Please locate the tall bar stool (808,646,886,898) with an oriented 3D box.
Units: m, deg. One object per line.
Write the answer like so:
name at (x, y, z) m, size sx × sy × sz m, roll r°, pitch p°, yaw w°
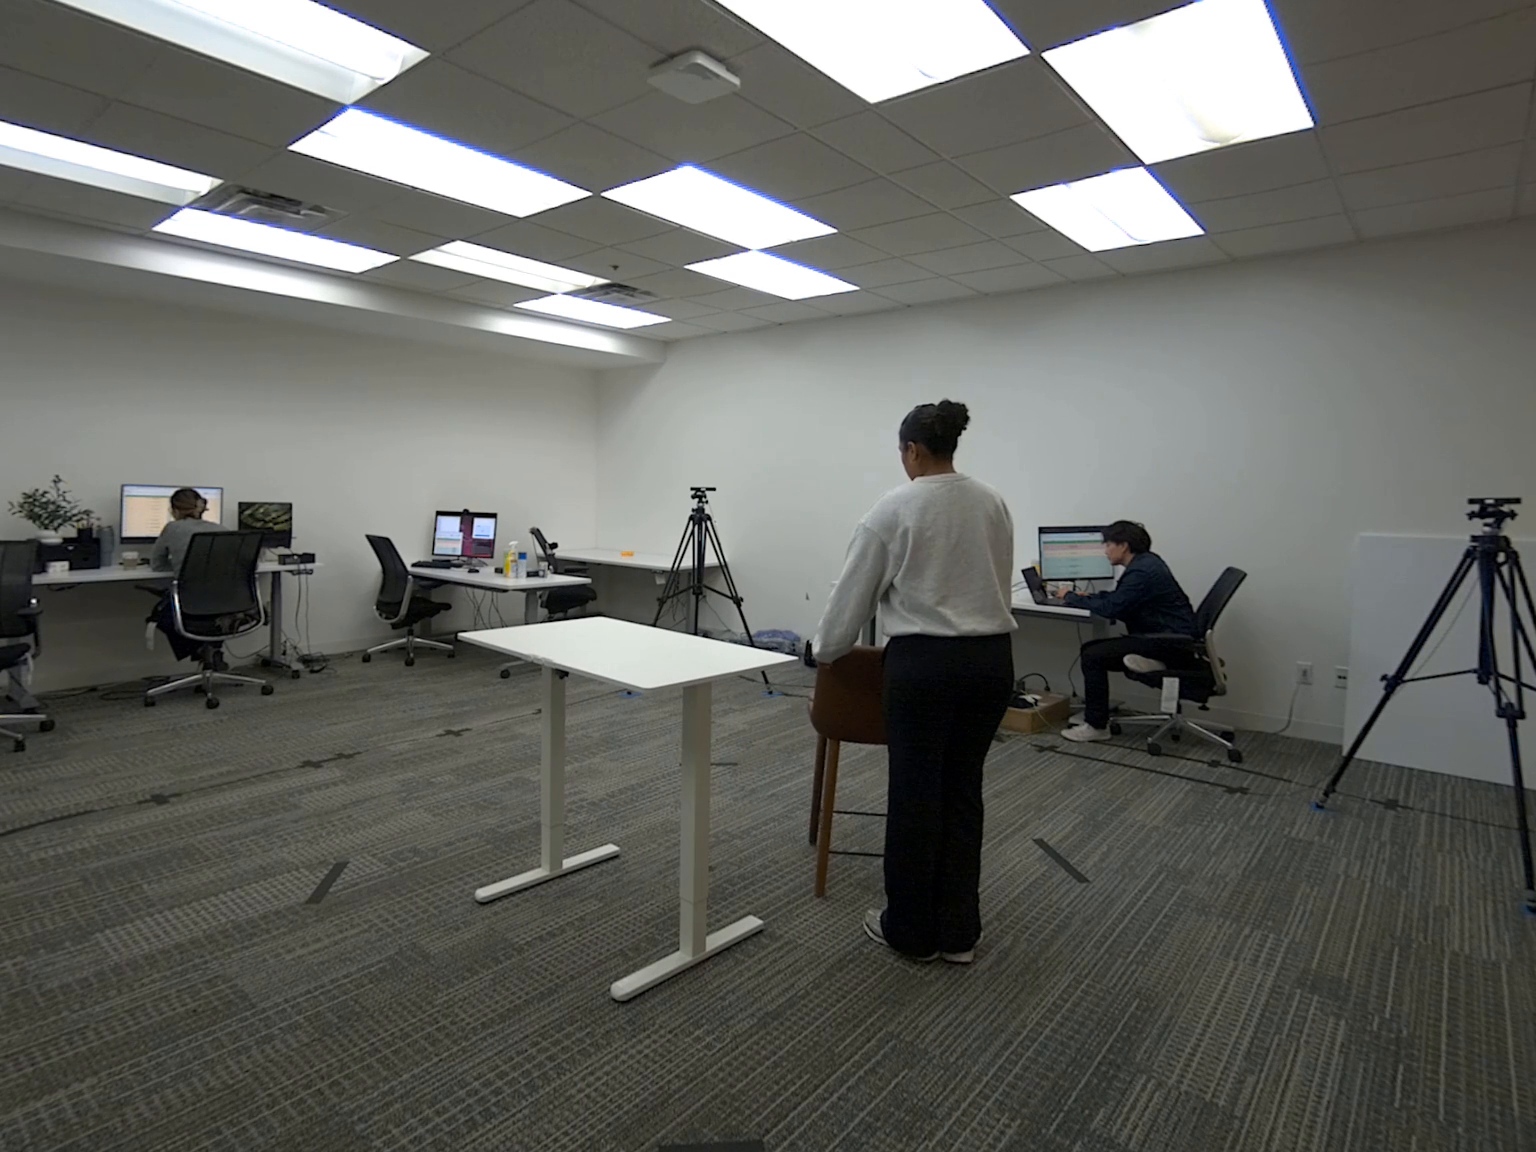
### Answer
tall bar stool at (0.361, 0.646, 3.079) m, size 0.459 × 0.885 × 0.468 m, roll 2°, pitch 6°, yaw 4°
